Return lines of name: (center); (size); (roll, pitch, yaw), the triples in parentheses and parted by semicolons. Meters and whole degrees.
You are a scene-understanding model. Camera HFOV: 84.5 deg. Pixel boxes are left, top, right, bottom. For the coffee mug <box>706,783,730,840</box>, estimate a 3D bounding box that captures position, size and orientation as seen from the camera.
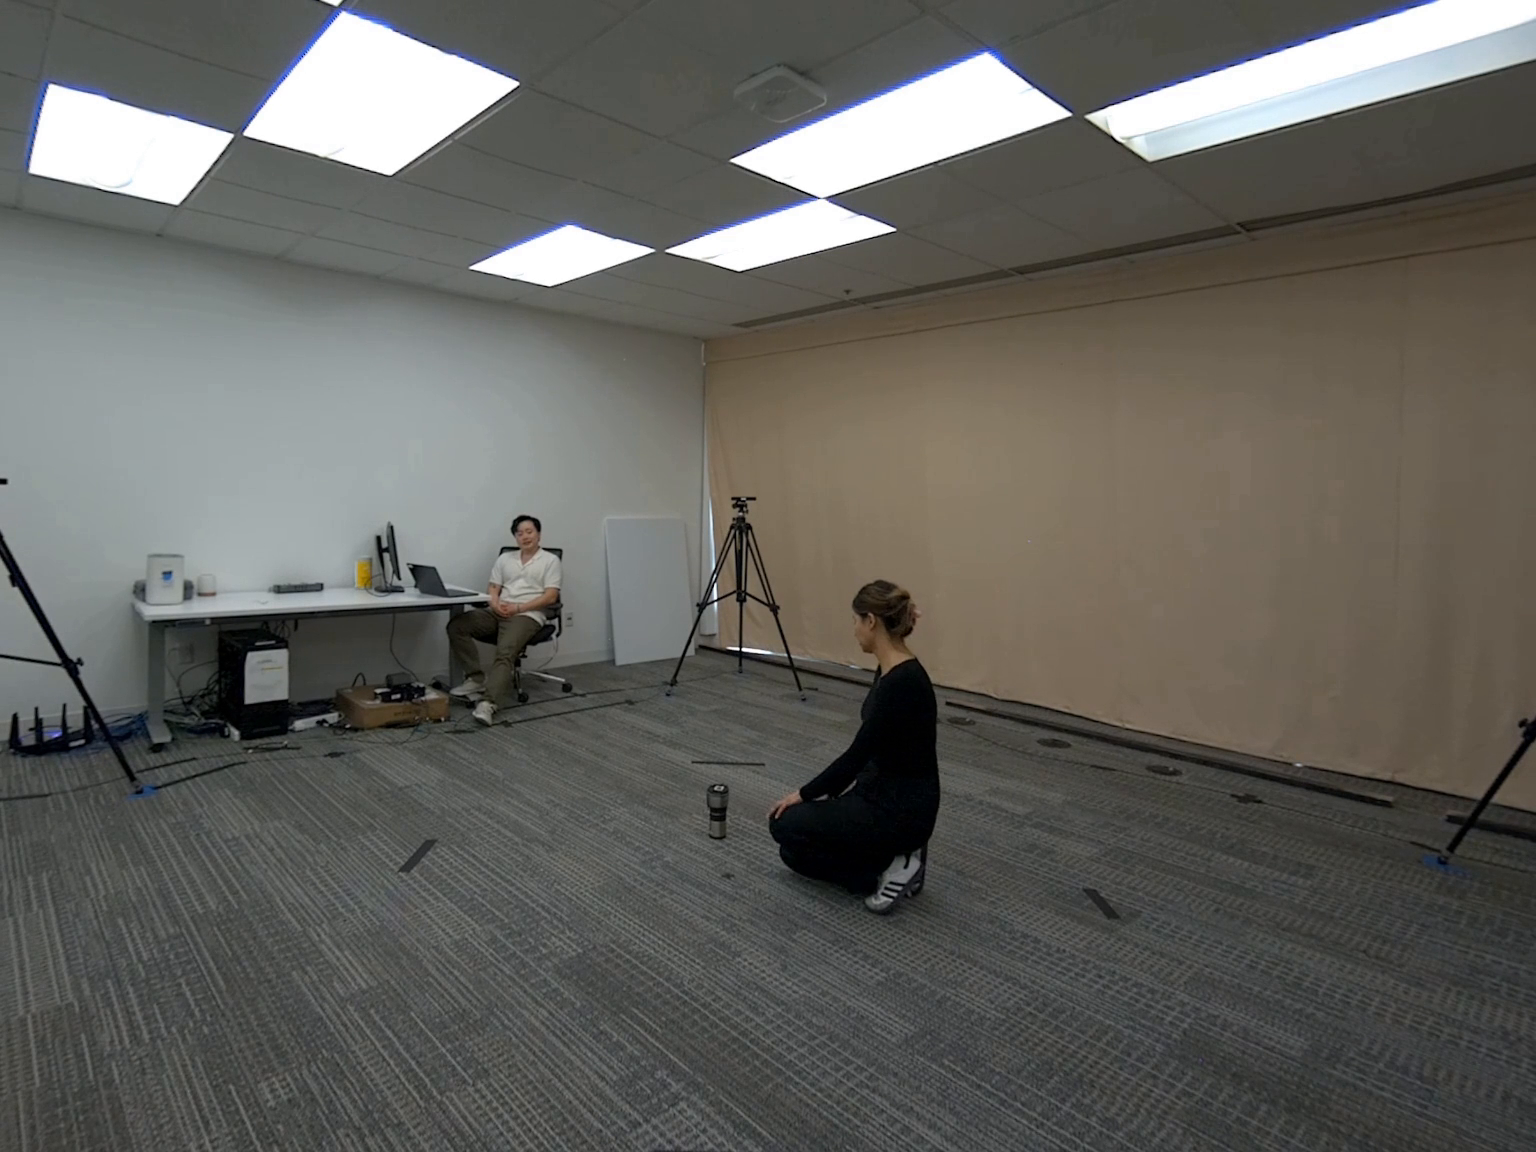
coffee mug: (-0.214, 0.972, 3.489); (0.088, 0.202, 0.122); (0, 5, -2)
